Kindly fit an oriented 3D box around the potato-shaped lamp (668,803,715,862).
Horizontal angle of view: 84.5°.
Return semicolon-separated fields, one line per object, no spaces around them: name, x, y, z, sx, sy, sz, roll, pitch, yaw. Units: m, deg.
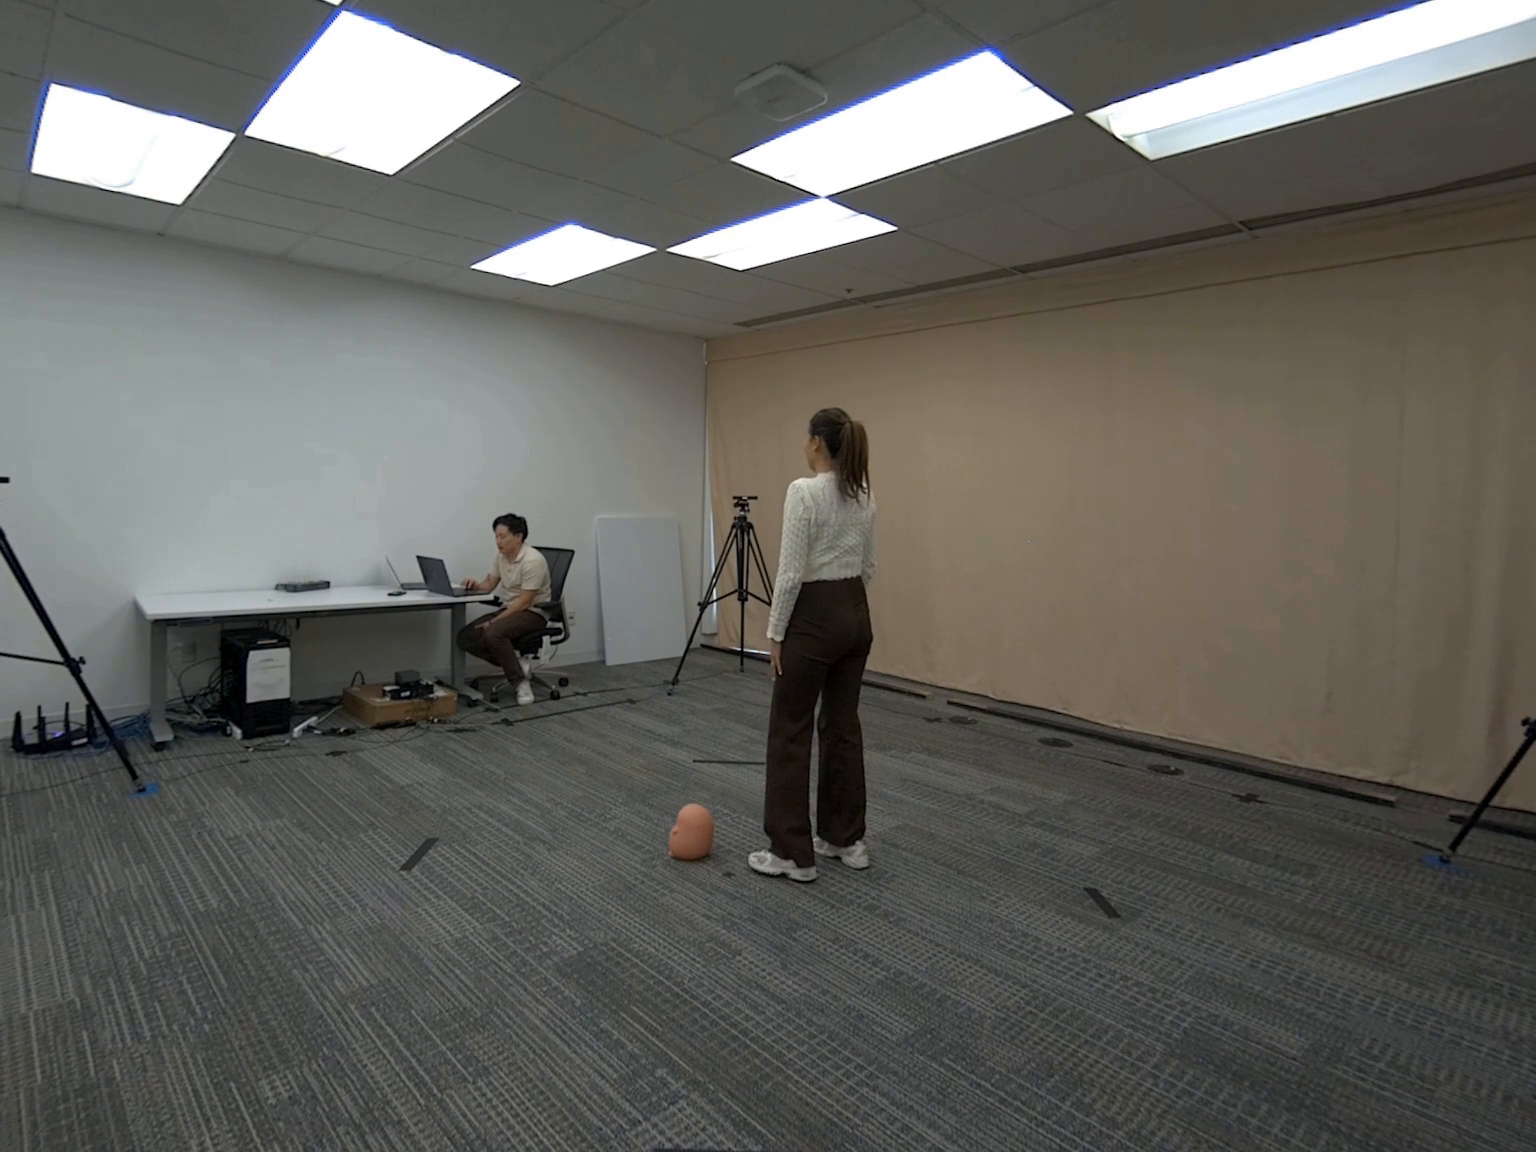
potato-shaped lamp;-0.300;0.980;3.262;0.174;0.197;0.163;4;4;16
